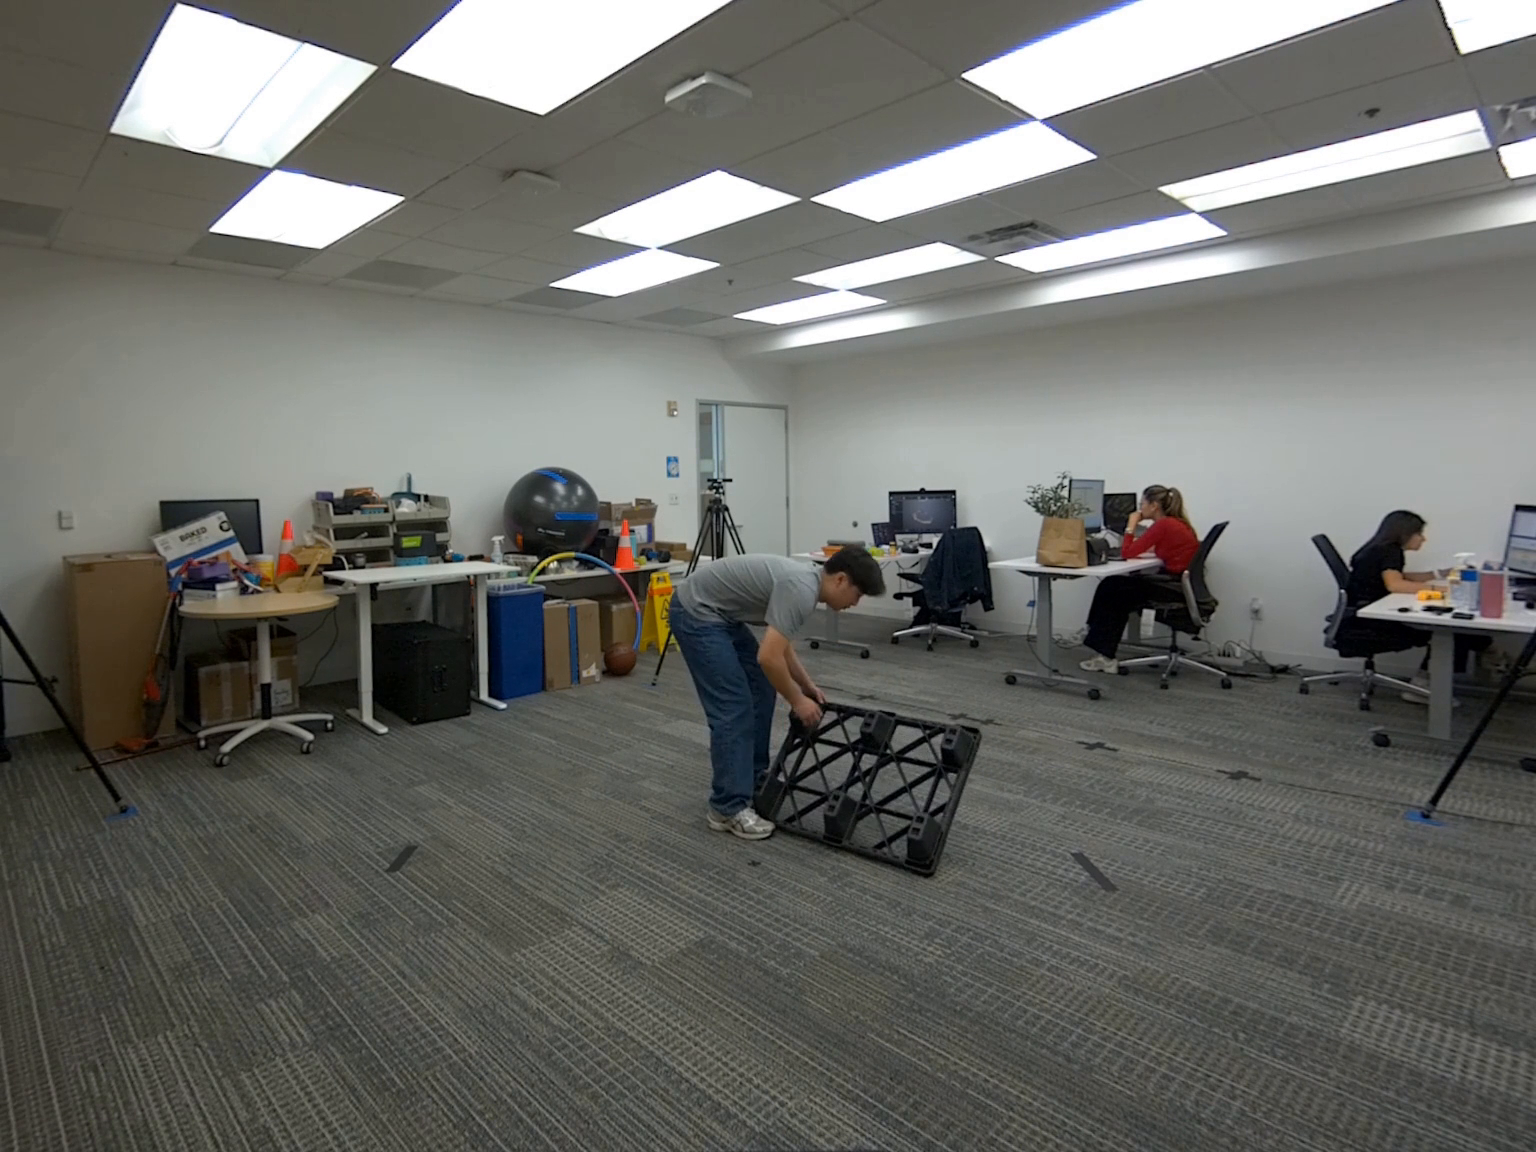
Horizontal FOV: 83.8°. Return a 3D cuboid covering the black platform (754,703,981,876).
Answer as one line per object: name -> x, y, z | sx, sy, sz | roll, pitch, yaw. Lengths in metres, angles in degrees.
black platform -> 0.361, 0.764, 3.333 | 0.830, 0.138, 0.609 | 4, 51, 37
